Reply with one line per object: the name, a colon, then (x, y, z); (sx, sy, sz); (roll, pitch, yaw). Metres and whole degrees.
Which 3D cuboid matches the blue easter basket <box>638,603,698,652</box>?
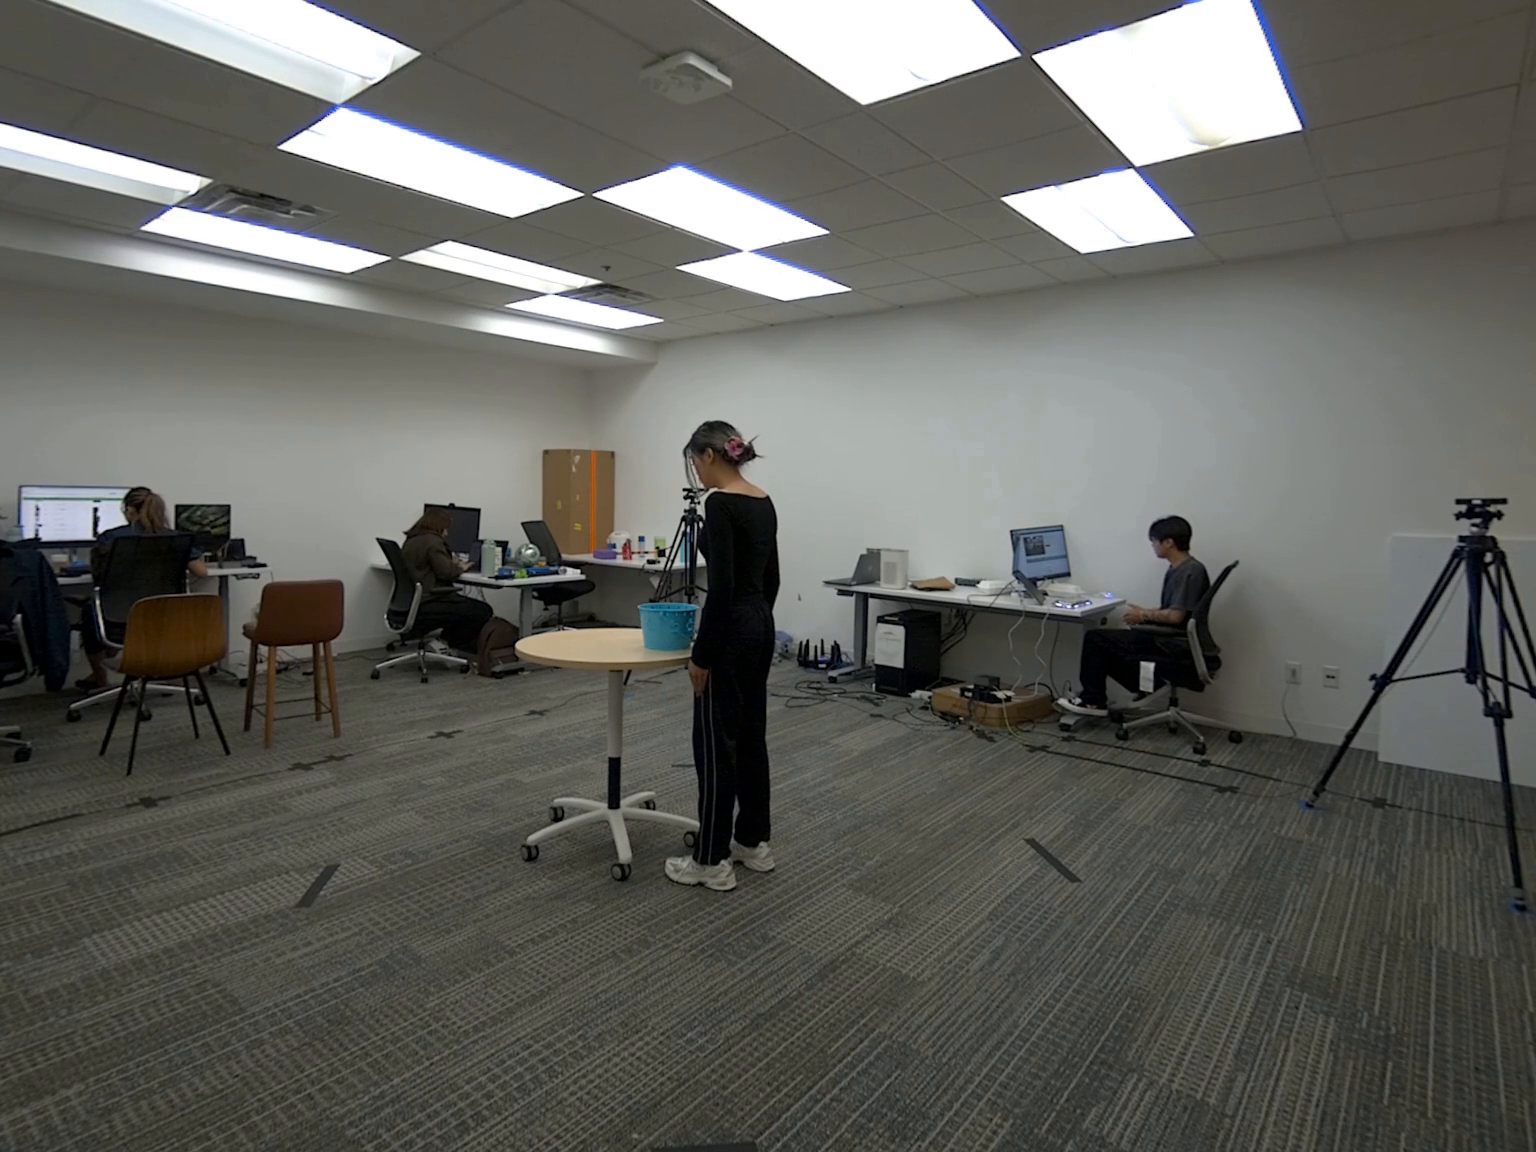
blue easter basket: (-0.393, 0.191, 3.260); (0.243, 0.155, 0.244); (0, 4, -2)
